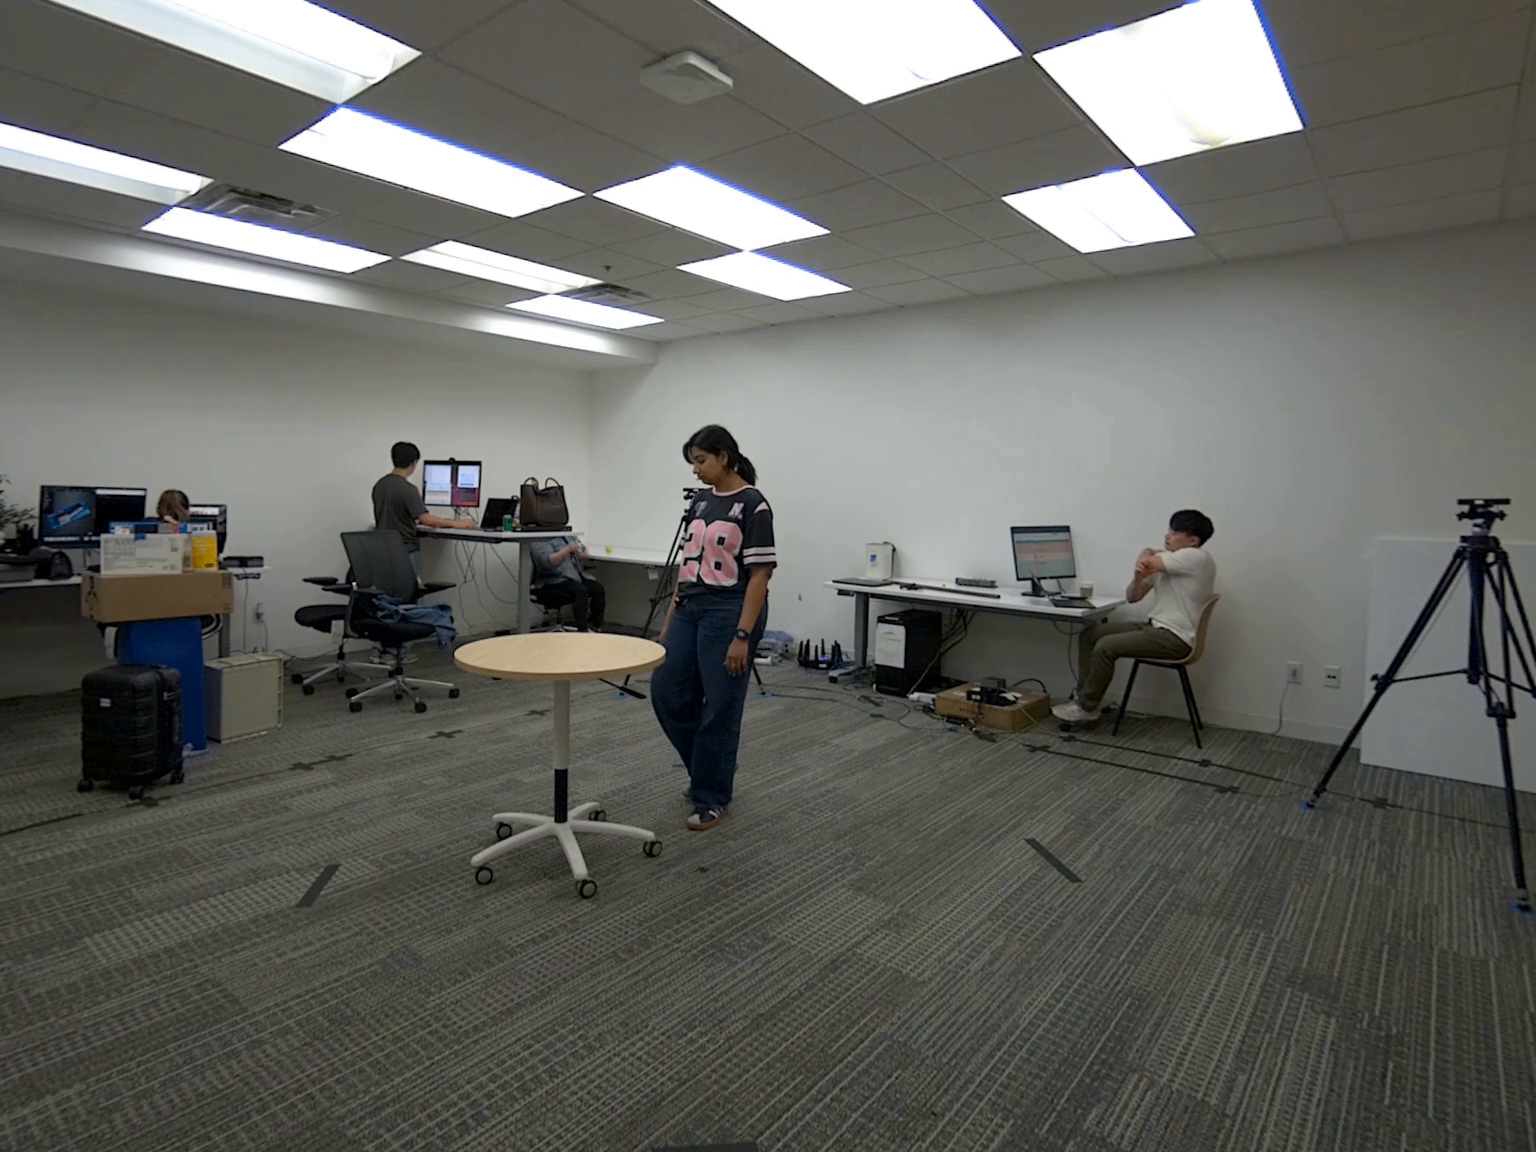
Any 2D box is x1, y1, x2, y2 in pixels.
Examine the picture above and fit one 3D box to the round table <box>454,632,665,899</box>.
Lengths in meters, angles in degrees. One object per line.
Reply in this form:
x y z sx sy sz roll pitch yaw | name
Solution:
-0.779 0.665 3.169 0.763 0.791 0.768 1 4 -2 | round table
